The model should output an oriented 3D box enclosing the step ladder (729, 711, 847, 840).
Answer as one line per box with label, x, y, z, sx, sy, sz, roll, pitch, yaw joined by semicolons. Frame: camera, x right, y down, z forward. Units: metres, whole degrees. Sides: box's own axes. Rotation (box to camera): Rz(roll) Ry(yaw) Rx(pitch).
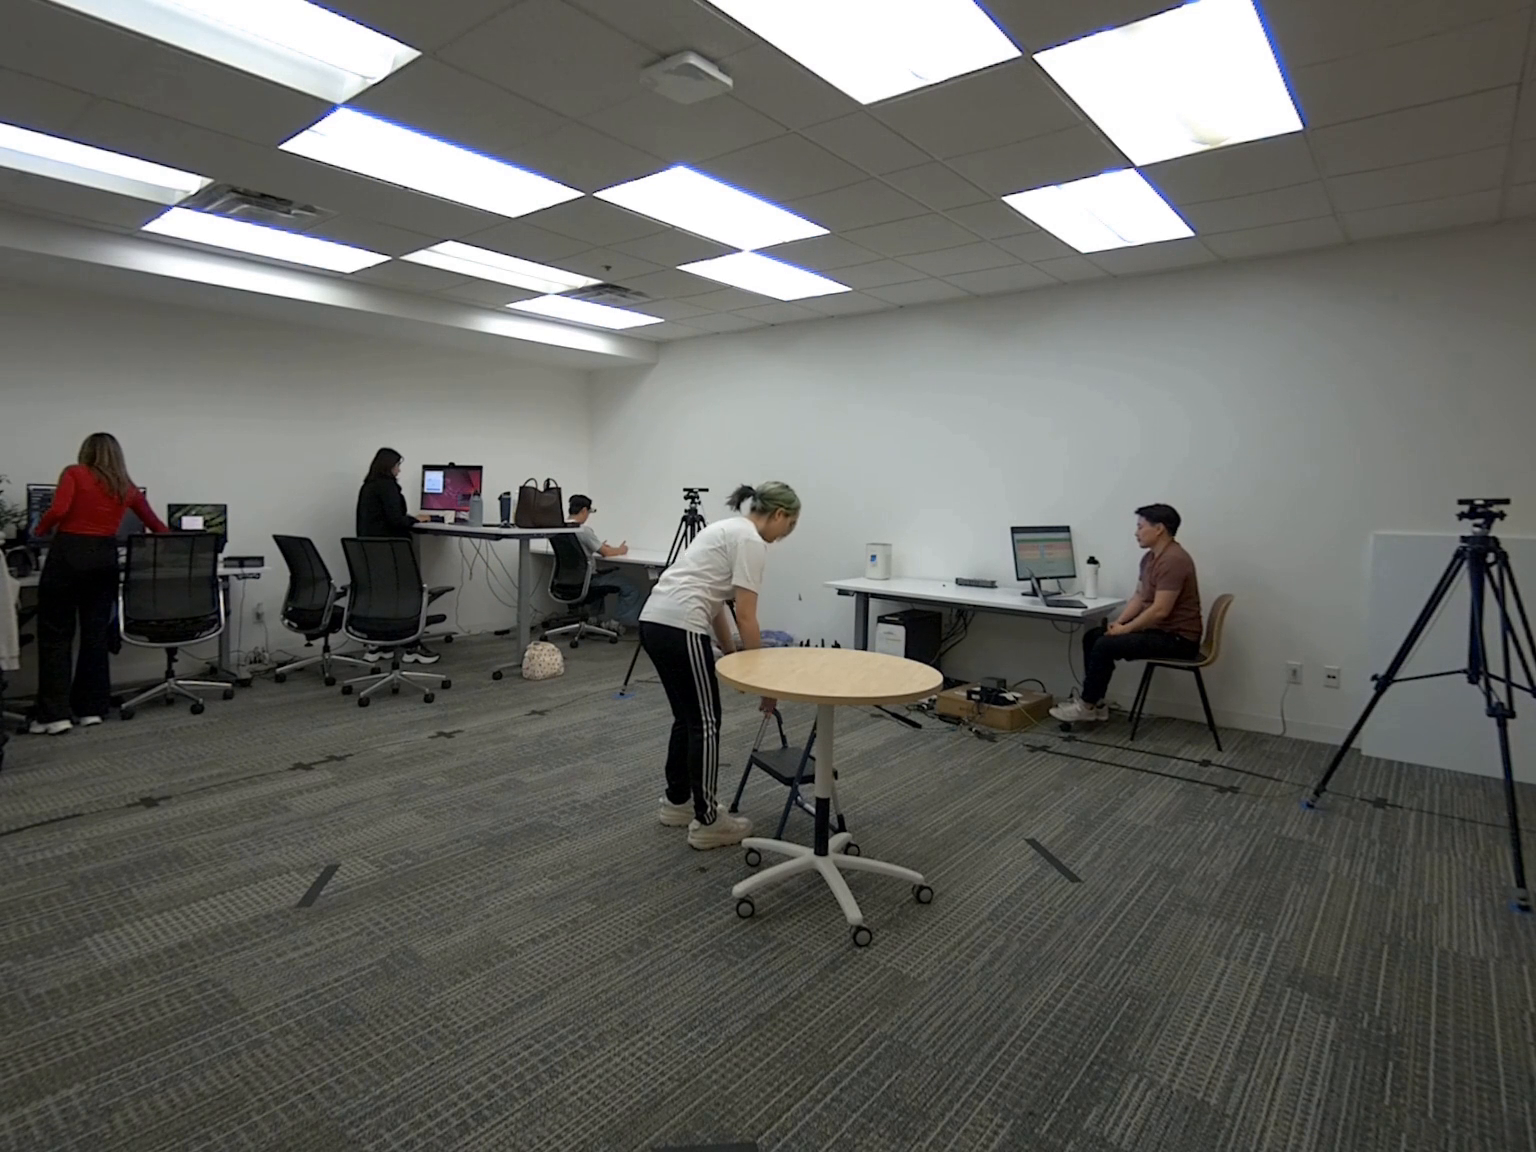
step ladder;0.074;0.735;3.543;0.341;0.604;0.443;0;4;-26
